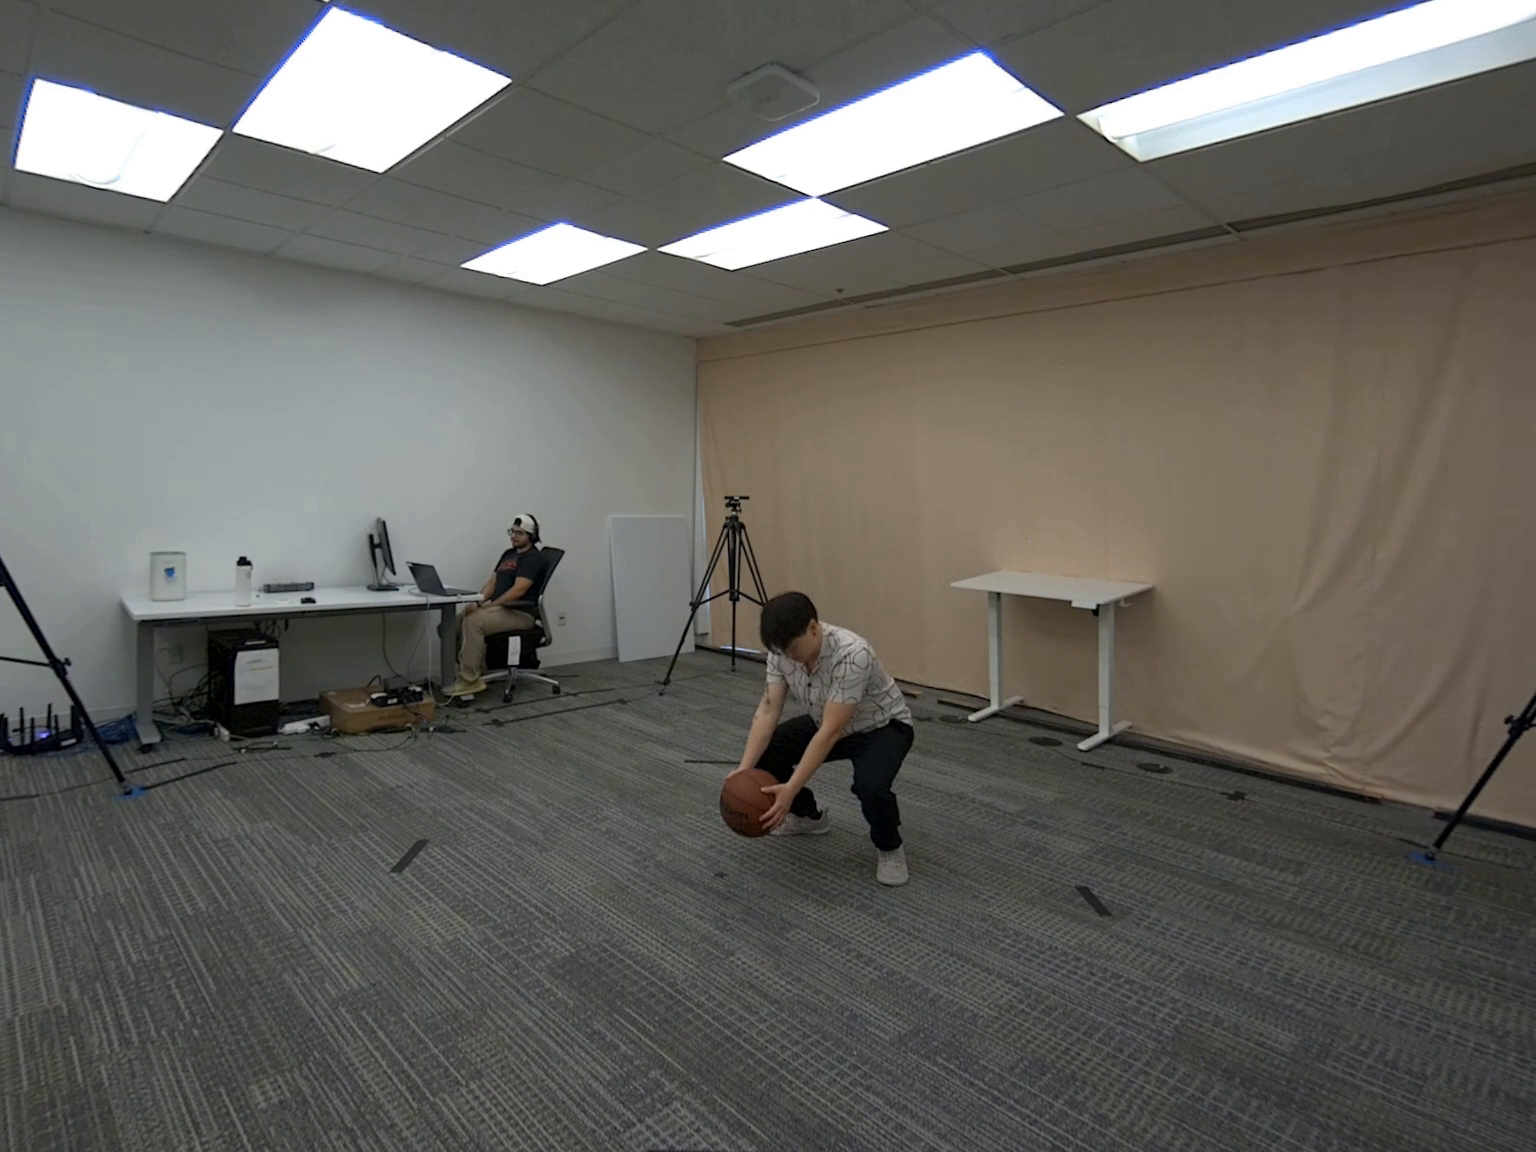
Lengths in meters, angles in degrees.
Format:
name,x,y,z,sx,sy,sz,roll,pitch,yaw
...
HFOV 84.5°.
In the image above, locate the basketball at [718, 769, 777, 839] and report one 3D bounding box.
name,x,y,z,sx,sy,sz,roll,pitch,yaw
basketball,-0.064,0.809,3.023,0.236,0.235,0.237,1,4,-1
